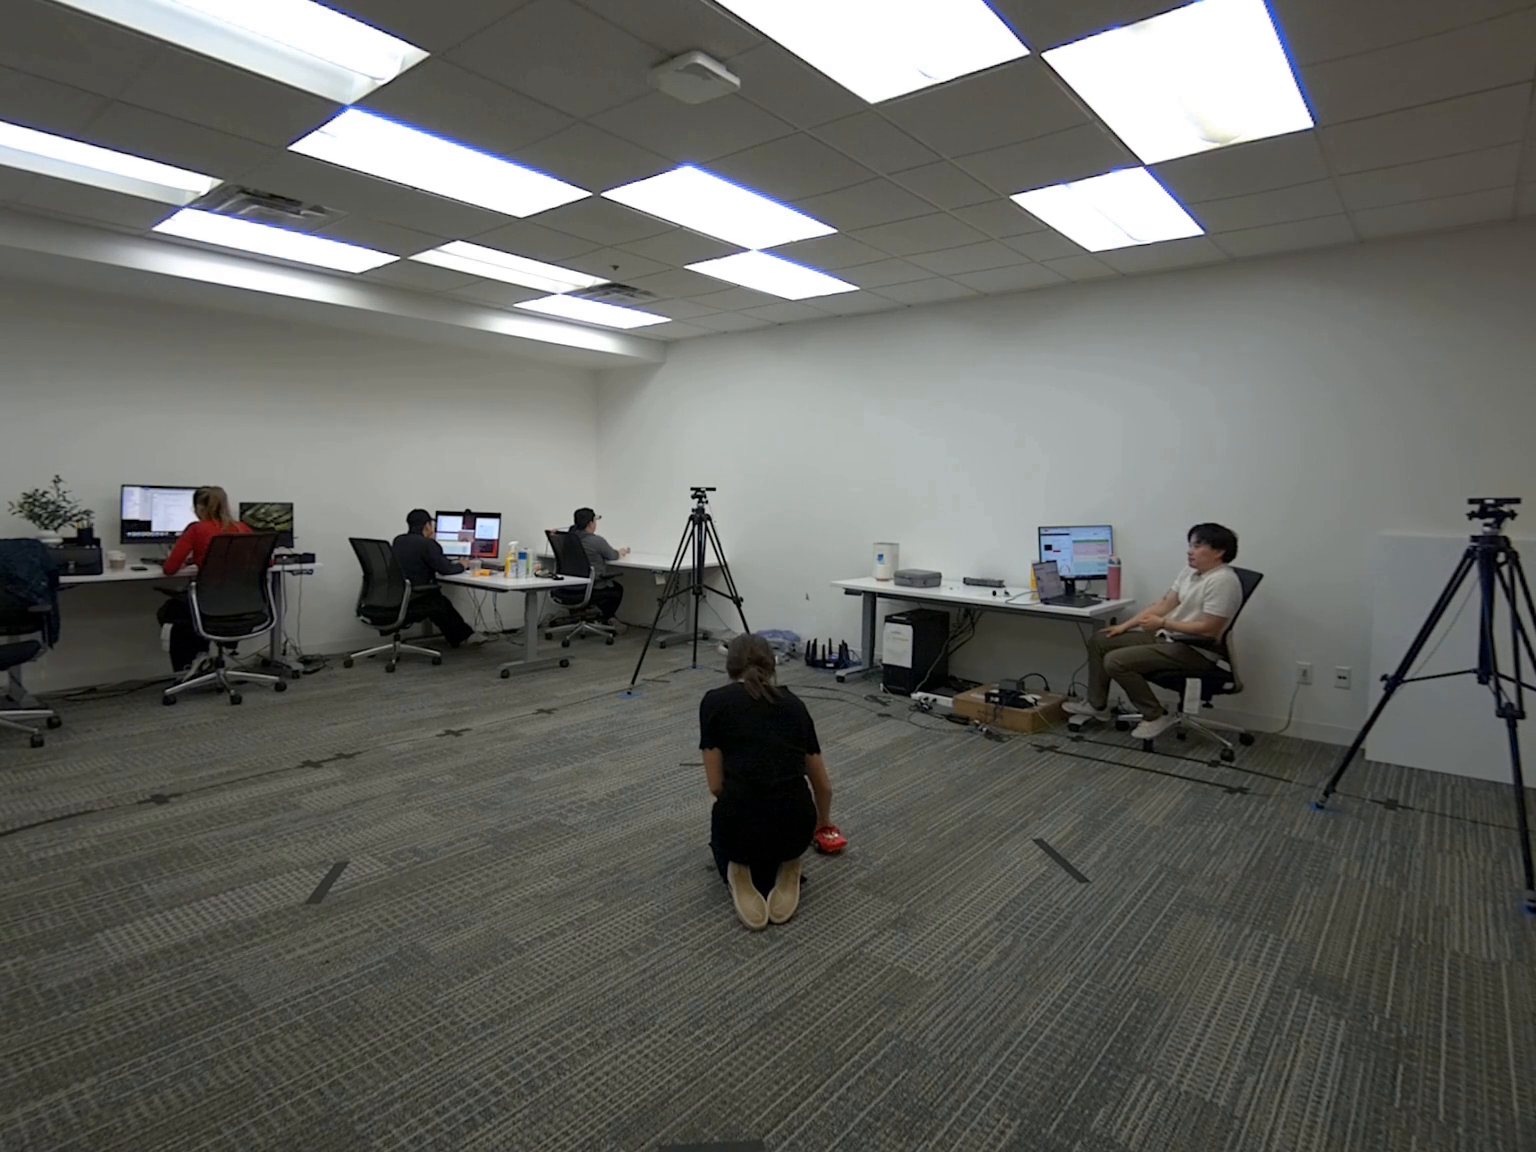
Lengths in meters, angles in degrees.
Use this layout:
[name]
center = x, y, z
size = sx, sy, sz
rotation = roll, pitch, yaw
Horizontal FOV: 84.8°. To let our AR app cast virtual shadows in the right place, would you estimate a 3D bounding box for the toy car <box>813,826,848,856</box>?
[toy car]
center = 0.198, 1.021, 3.335
size = 0.127, 0.083, 0.260
rotation = -3, -2, -31
